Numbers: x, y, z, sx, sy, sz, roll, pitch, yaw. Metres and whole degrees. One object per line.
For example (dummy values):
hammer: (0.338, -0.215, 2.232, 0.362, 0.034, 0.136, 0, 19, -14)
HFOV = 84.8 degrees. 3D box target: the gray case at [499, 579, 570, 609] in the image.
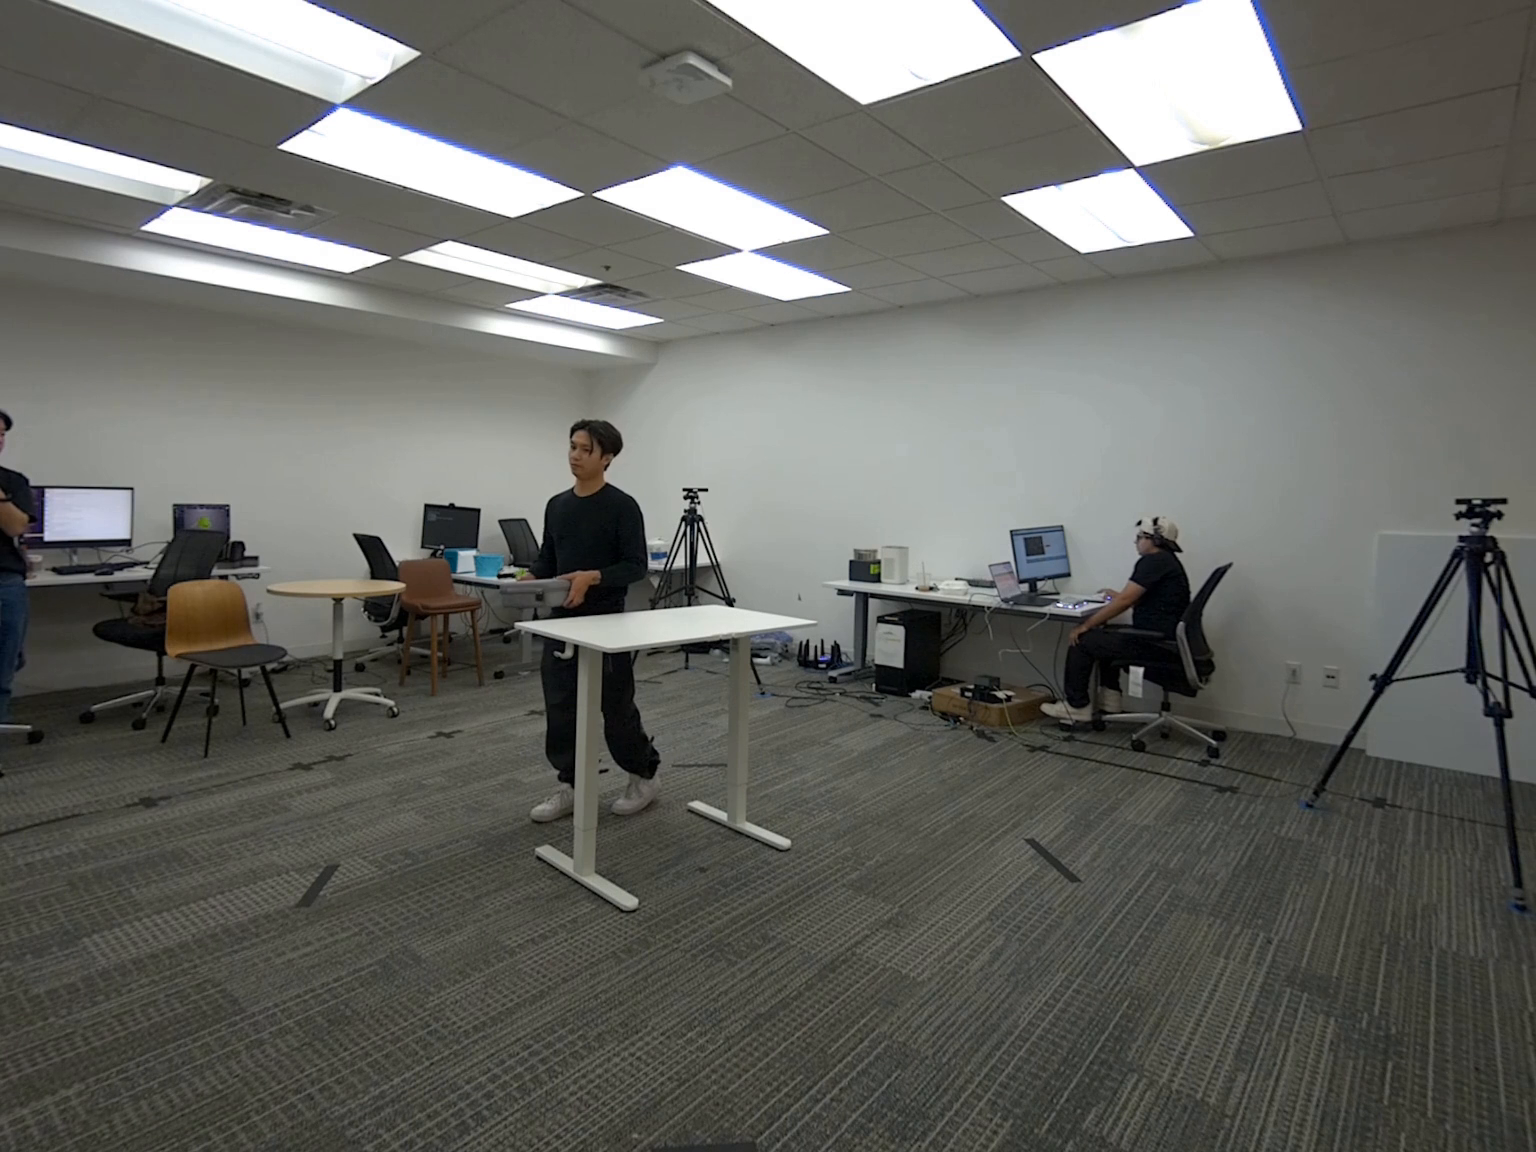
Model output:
gray case: (-0.935, 0.063, 3.407, 0.262, 0.104, 0.255, -2, 2, 20)
